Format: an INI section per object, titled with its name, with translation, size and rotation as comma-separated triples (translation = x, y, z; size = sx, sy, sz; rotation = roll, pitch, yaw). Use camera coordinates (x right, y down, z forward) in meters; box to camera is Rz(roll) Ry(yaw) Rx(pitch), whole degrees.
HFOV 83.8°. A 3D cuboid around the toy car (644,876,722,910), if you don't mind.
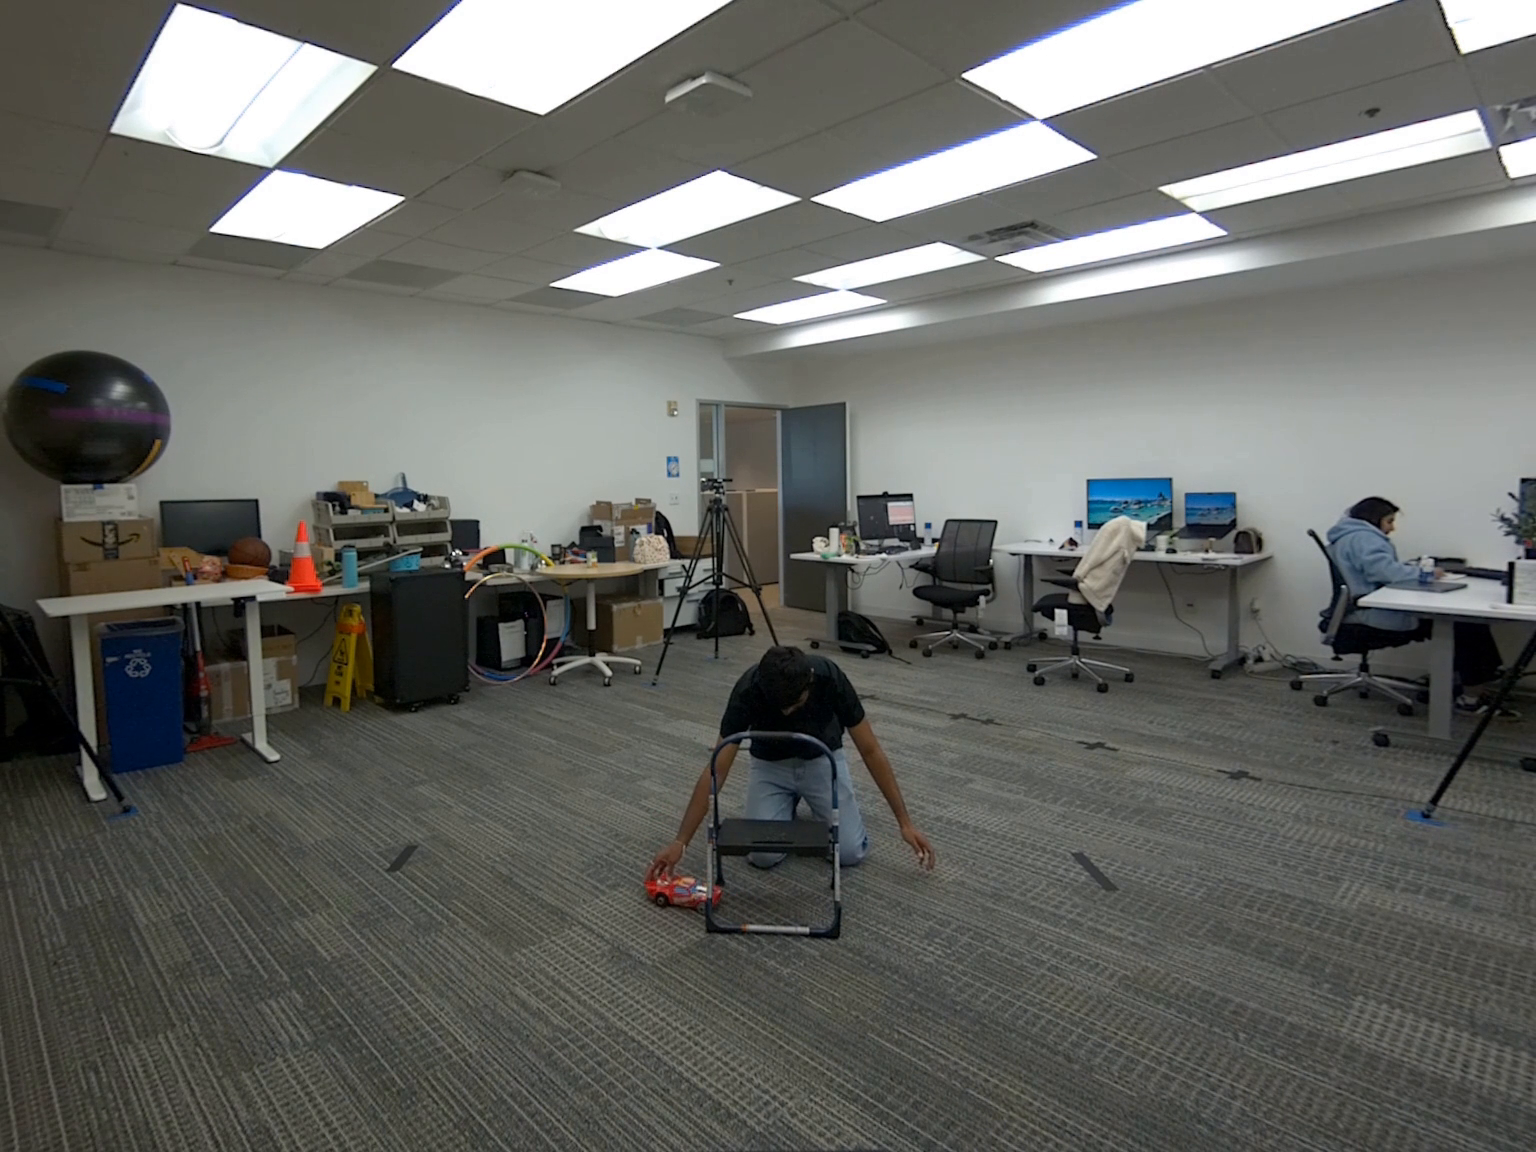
[toy car]
translation = -0.278, 1.052, 2.826
size = 0.260, 0.082, 0.129
rotation = 12, 11, 18
